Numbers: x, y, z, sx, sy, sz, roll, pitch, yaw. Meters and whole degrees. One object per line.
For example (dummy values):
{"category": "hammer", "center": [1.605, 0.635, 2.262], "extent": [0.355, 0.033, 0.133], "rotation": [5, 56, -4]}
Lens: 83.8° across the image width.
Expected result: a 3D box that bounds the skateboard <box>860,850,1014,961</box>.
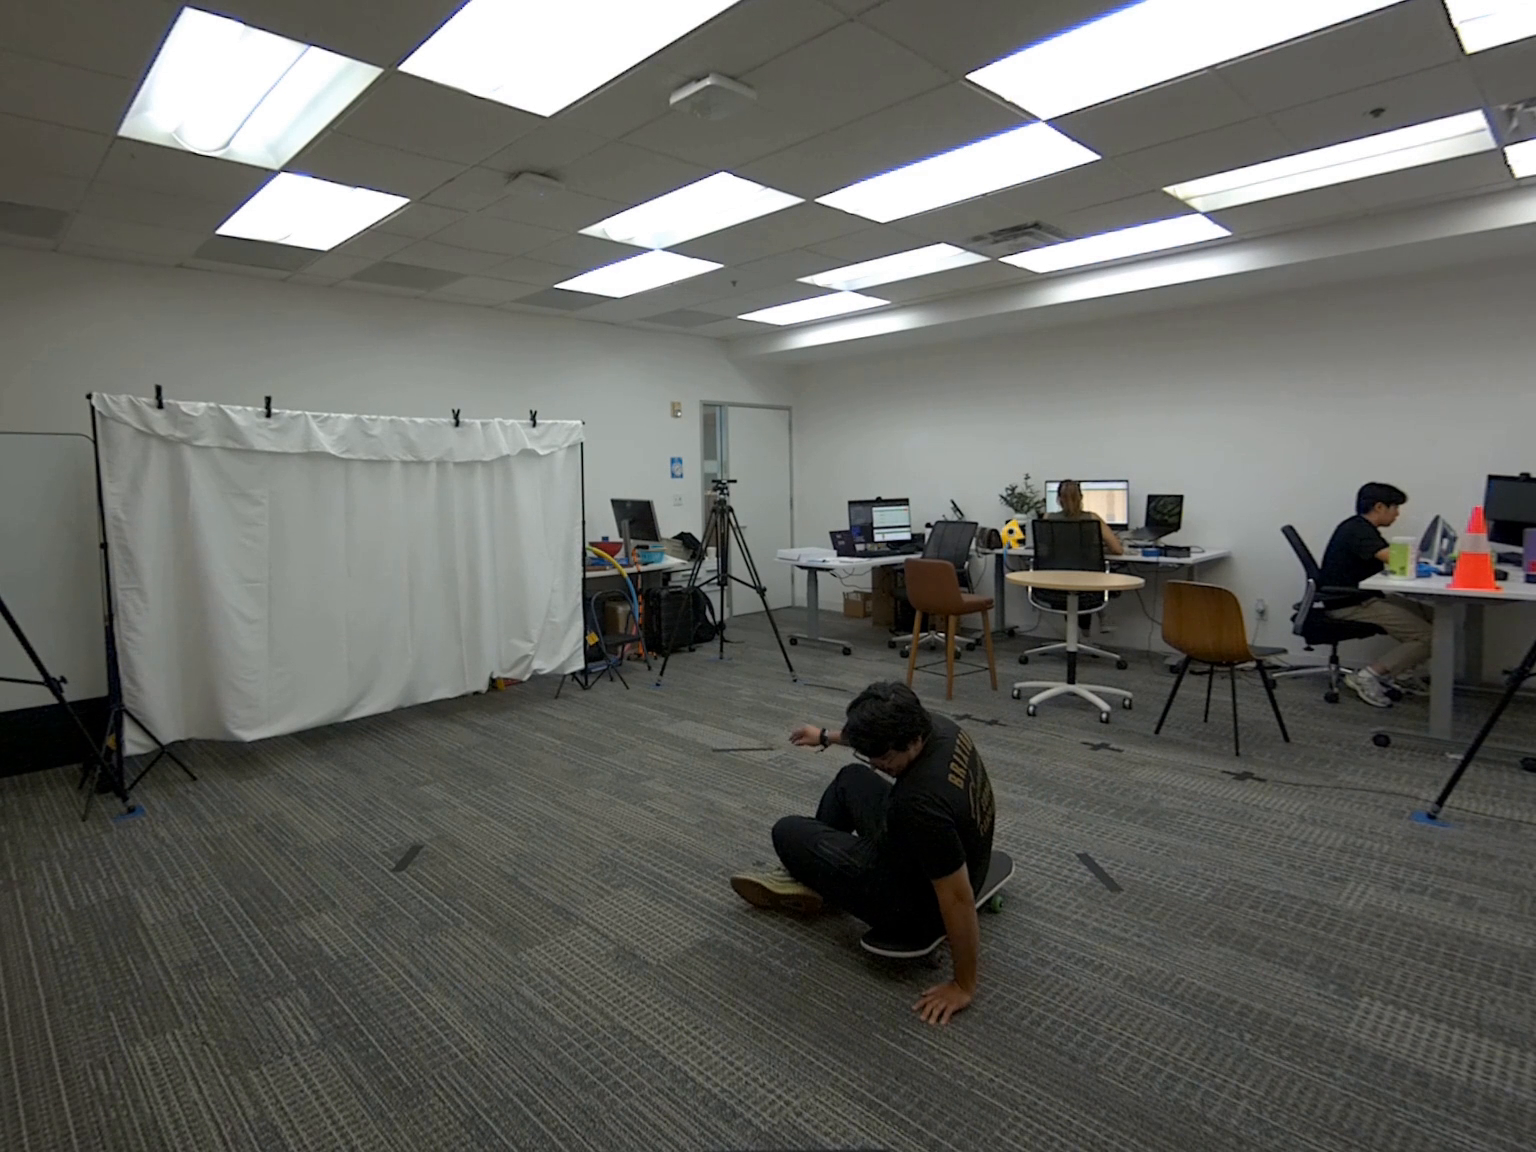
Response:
{"category": "skateboard", "center": [0.549, 1.034, 2.639], "extent": [0.199, 0.110, 0.766], "rotation": [-1, 6, 42]}
